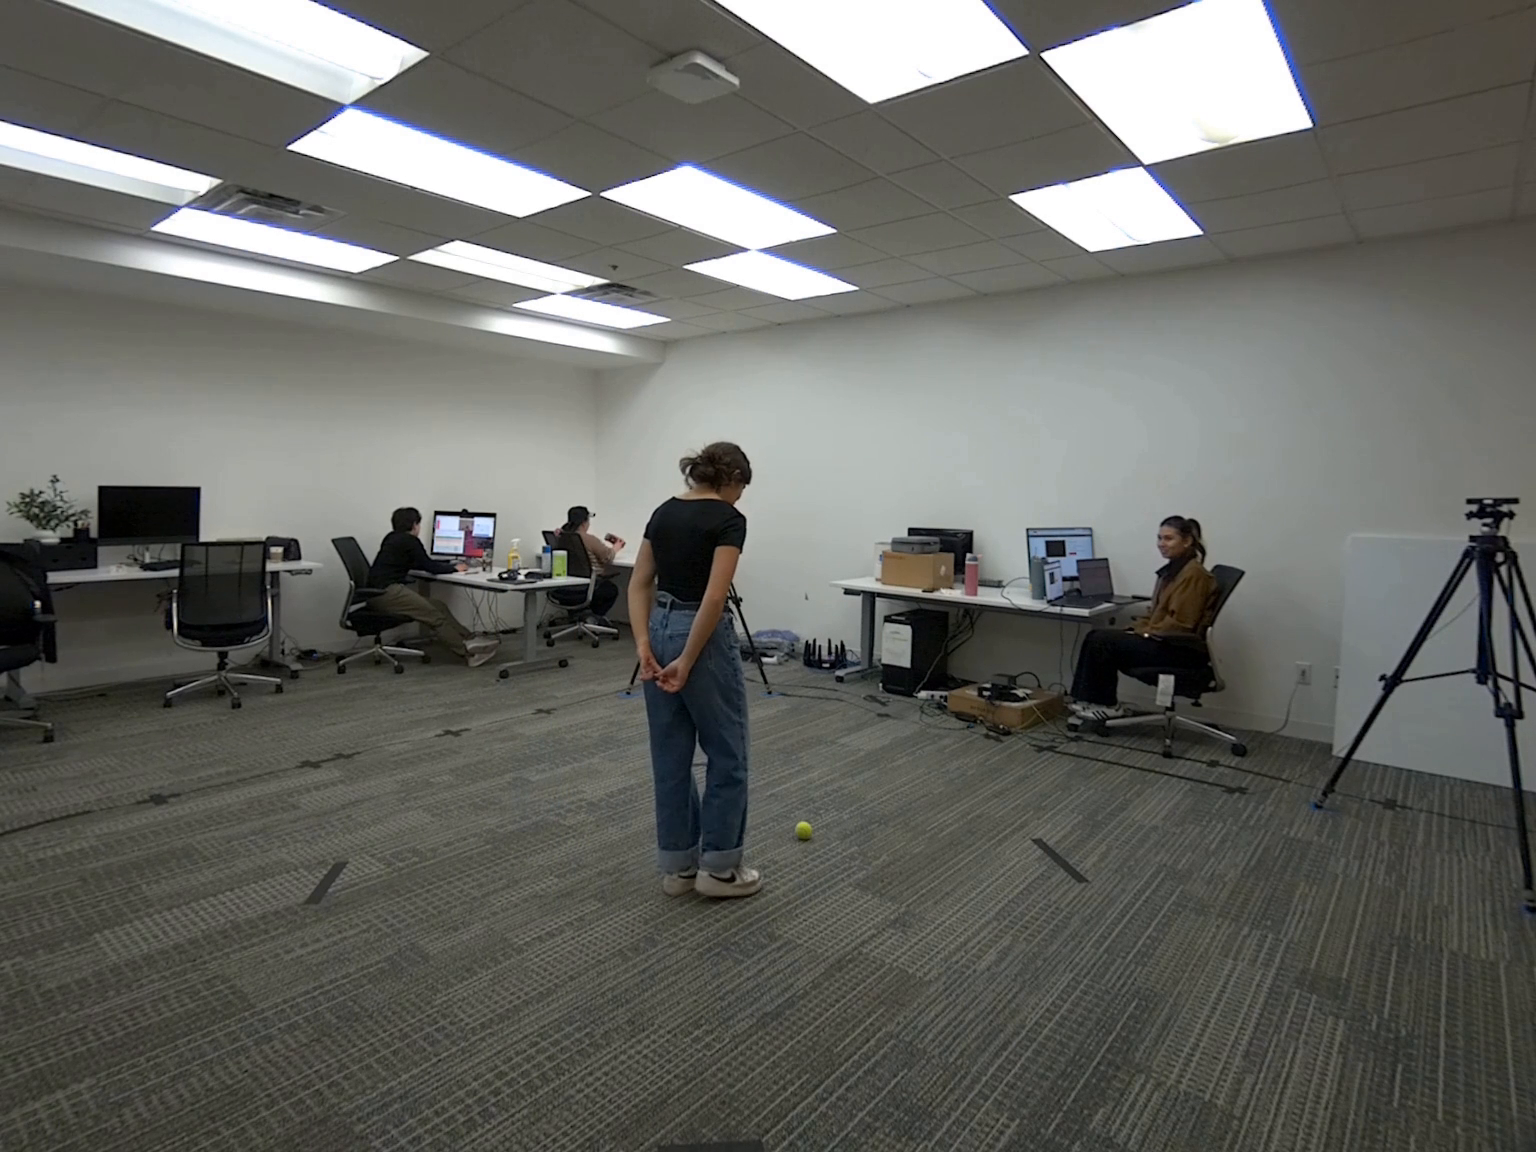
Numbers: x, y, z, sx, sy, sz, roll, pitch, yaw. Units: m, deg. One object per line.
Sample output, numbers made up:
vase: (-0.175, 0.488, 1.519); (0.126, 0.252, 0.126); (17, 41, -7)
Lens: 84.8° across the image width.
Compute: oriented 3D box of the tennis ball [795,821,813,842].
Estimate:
tennis ball: (0.136, 0.994, 3.401); (0.066, 0.066, 0.067); (1, 4, -2)
